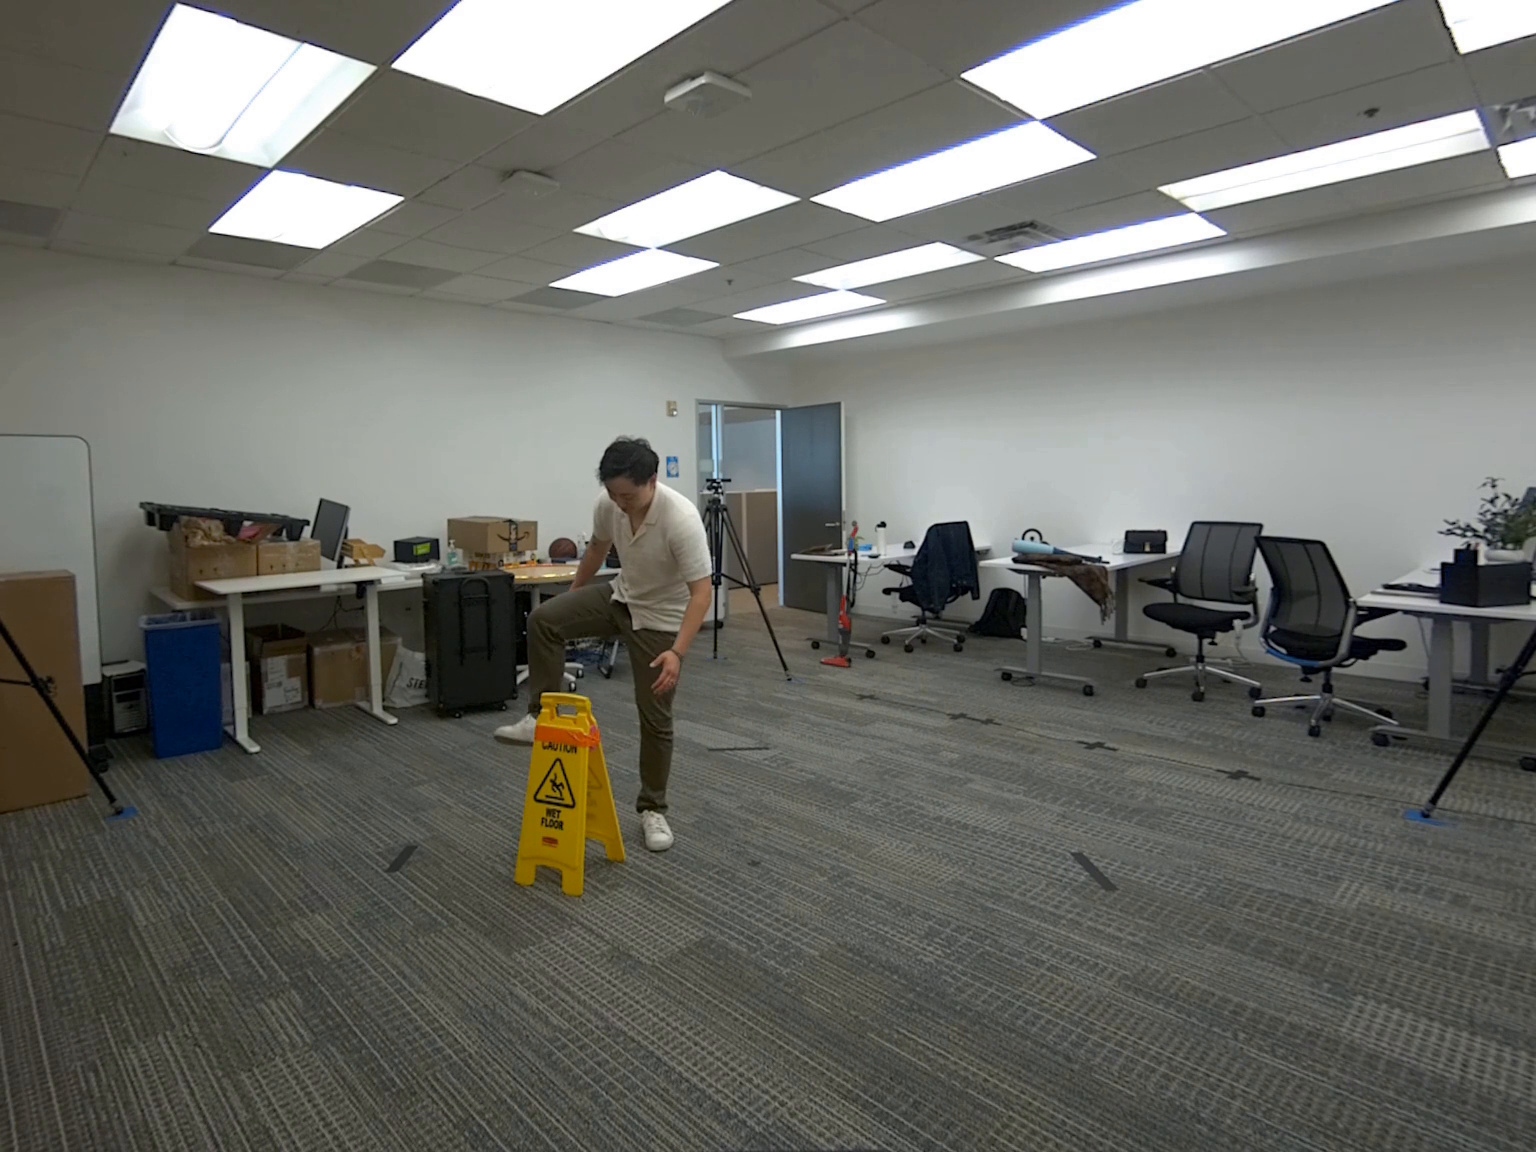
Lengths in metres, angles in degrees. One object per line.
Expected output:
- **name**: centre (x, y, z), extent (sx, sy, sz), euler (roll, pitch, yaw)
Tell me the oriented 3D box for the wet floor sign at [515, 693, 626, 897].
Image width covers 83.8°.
- **wet floor sign**: centre (-0.711, 0.742, 3.044), extent (0.288, 0.644, 0.284), euler (0, 4, 24)
